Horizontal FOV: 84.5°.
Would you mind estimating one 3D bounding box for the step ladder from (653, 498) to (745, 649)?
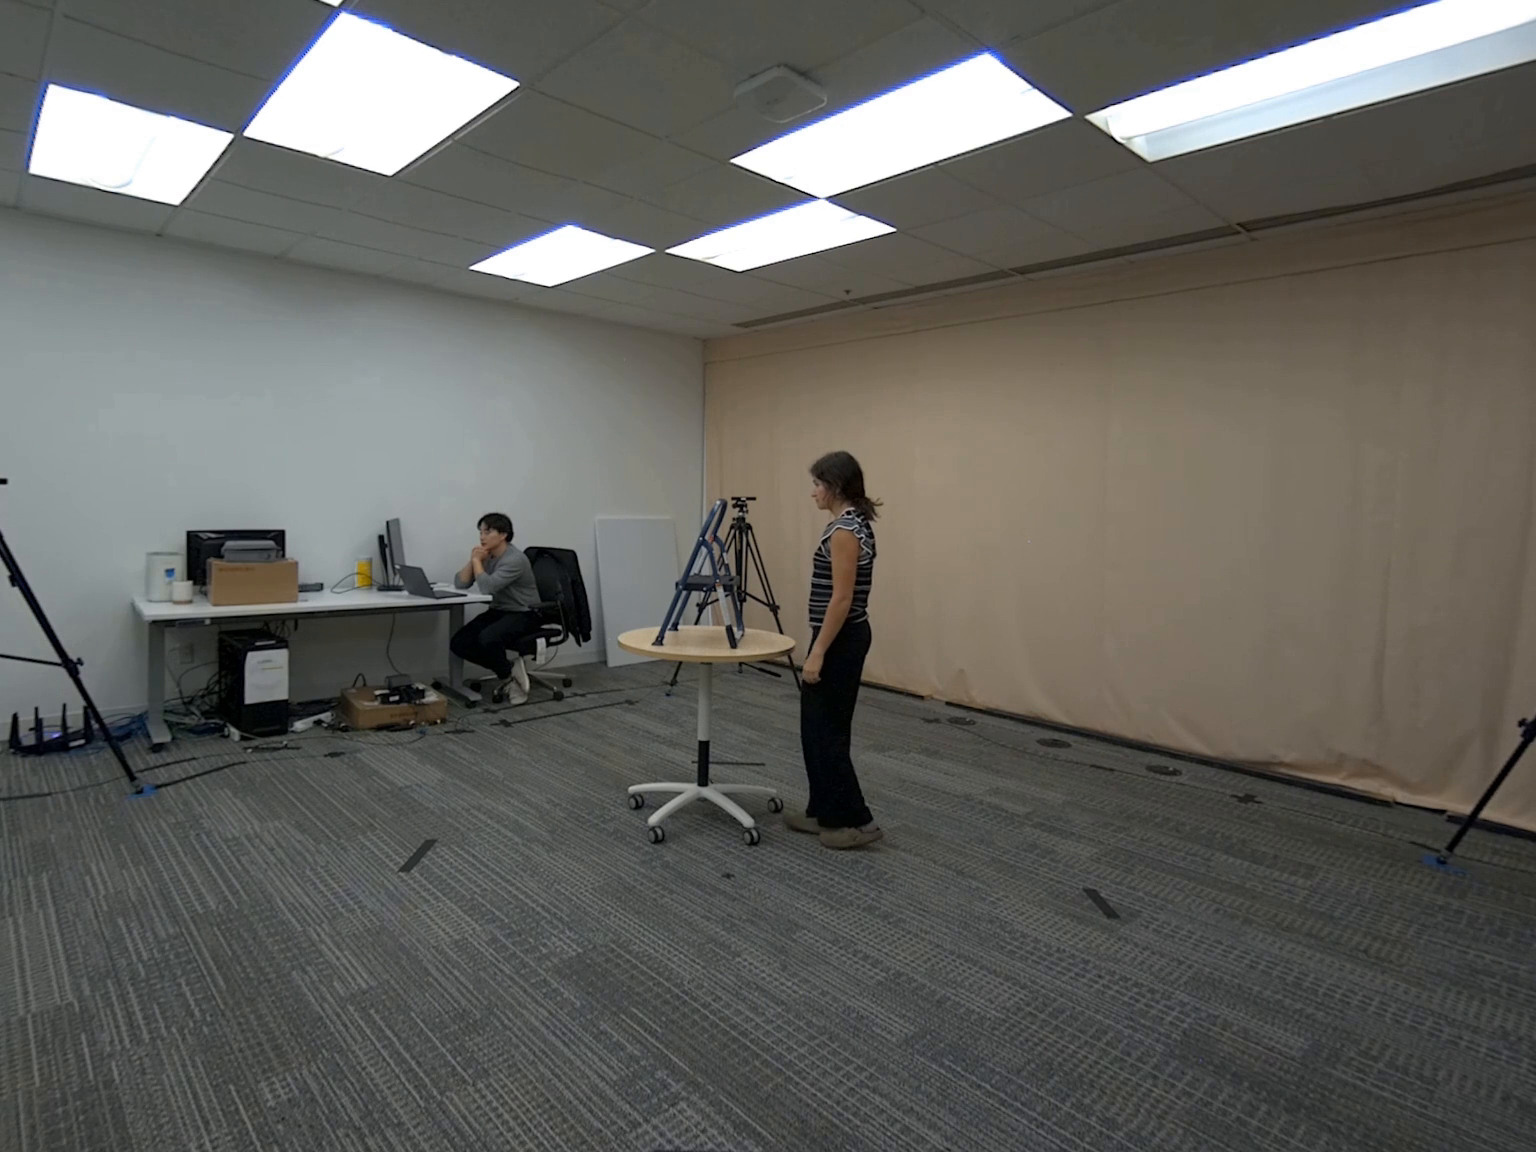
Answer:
[{"bbox_3d":[-0.288,-0.021,3.622,0.350,0.603,0.431,3,7,3],"label":"step ladder"}]
